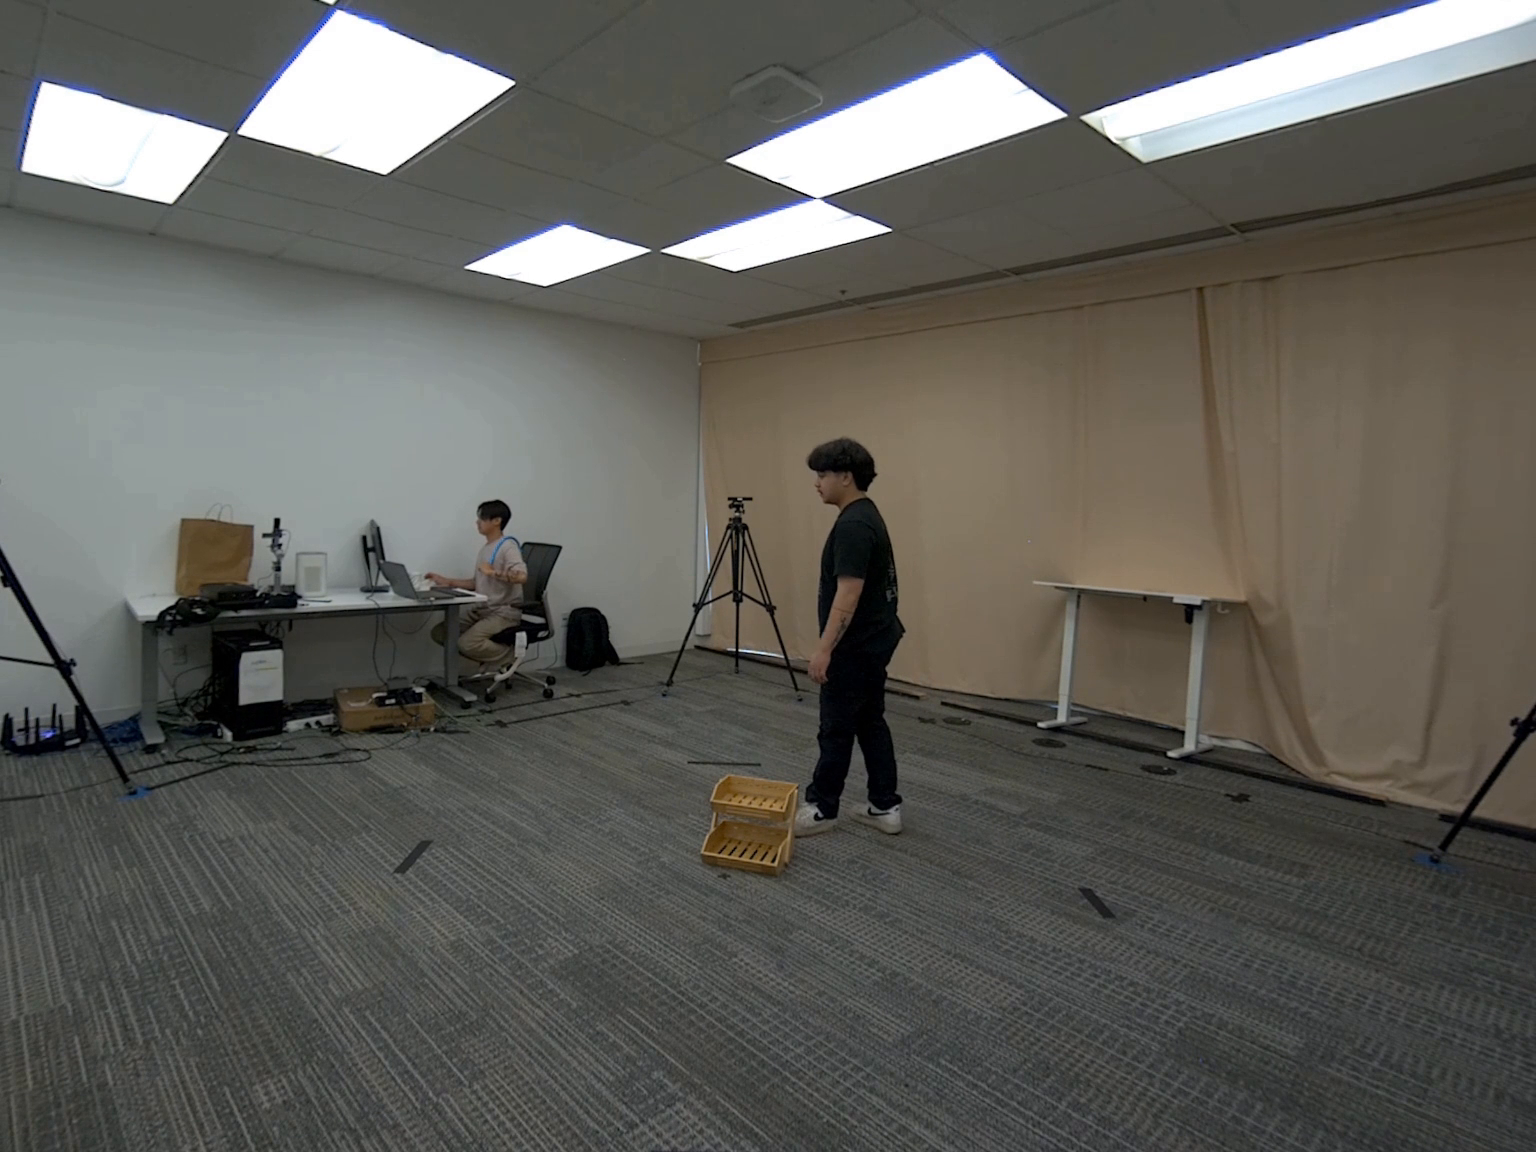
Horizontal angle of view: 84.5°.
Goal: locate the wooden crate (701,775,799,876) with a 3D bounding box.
[{"bbox_3d":[-0.072,0.959,3.272,0.329,0.273,0.298,3,4,17],"label":"wooden crate"}]
